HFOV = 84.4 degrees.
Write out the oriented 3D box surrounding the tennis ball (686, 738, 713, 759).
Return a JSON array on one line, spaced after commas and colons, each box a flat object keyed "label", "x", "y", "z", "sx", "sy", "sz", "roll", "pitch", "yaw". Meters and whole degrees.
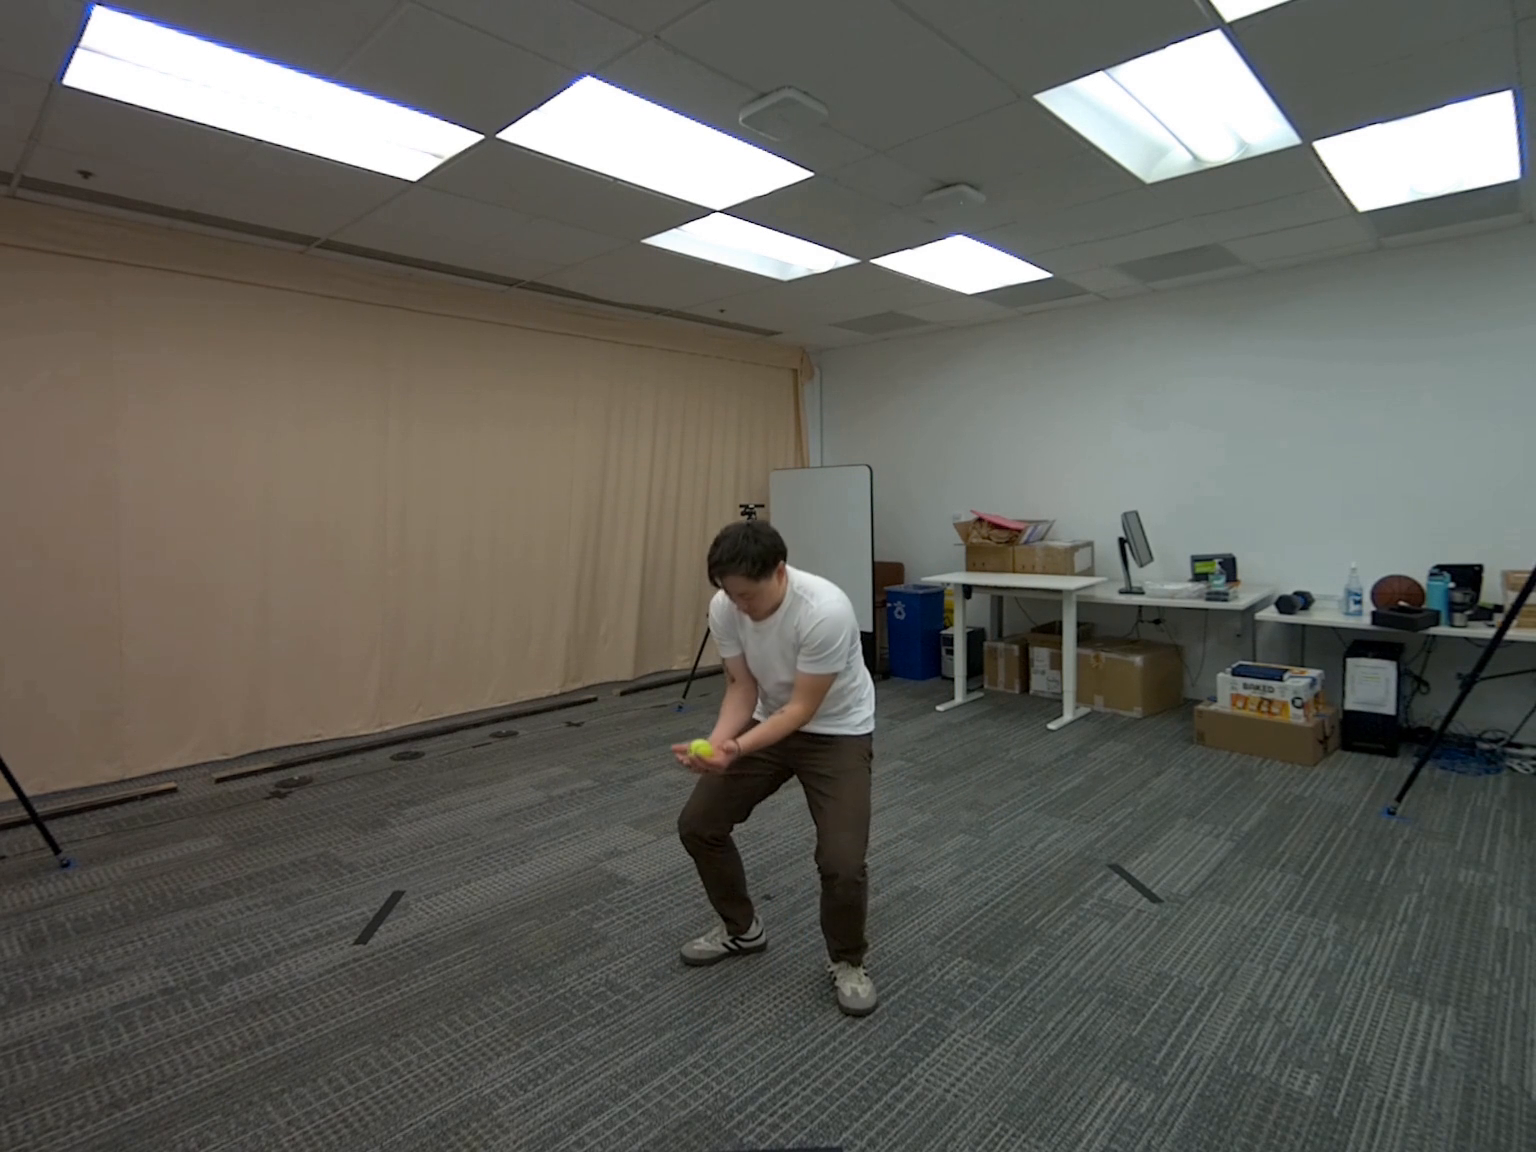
[{"label": "tennis ball", "x": -0.161, "y": 0.476, "z": 2.222, "sx": 0.066, "sy": 0.066, "sz": 0.067, "roll": -1, "pitch": 4, "yaw": -2}]
